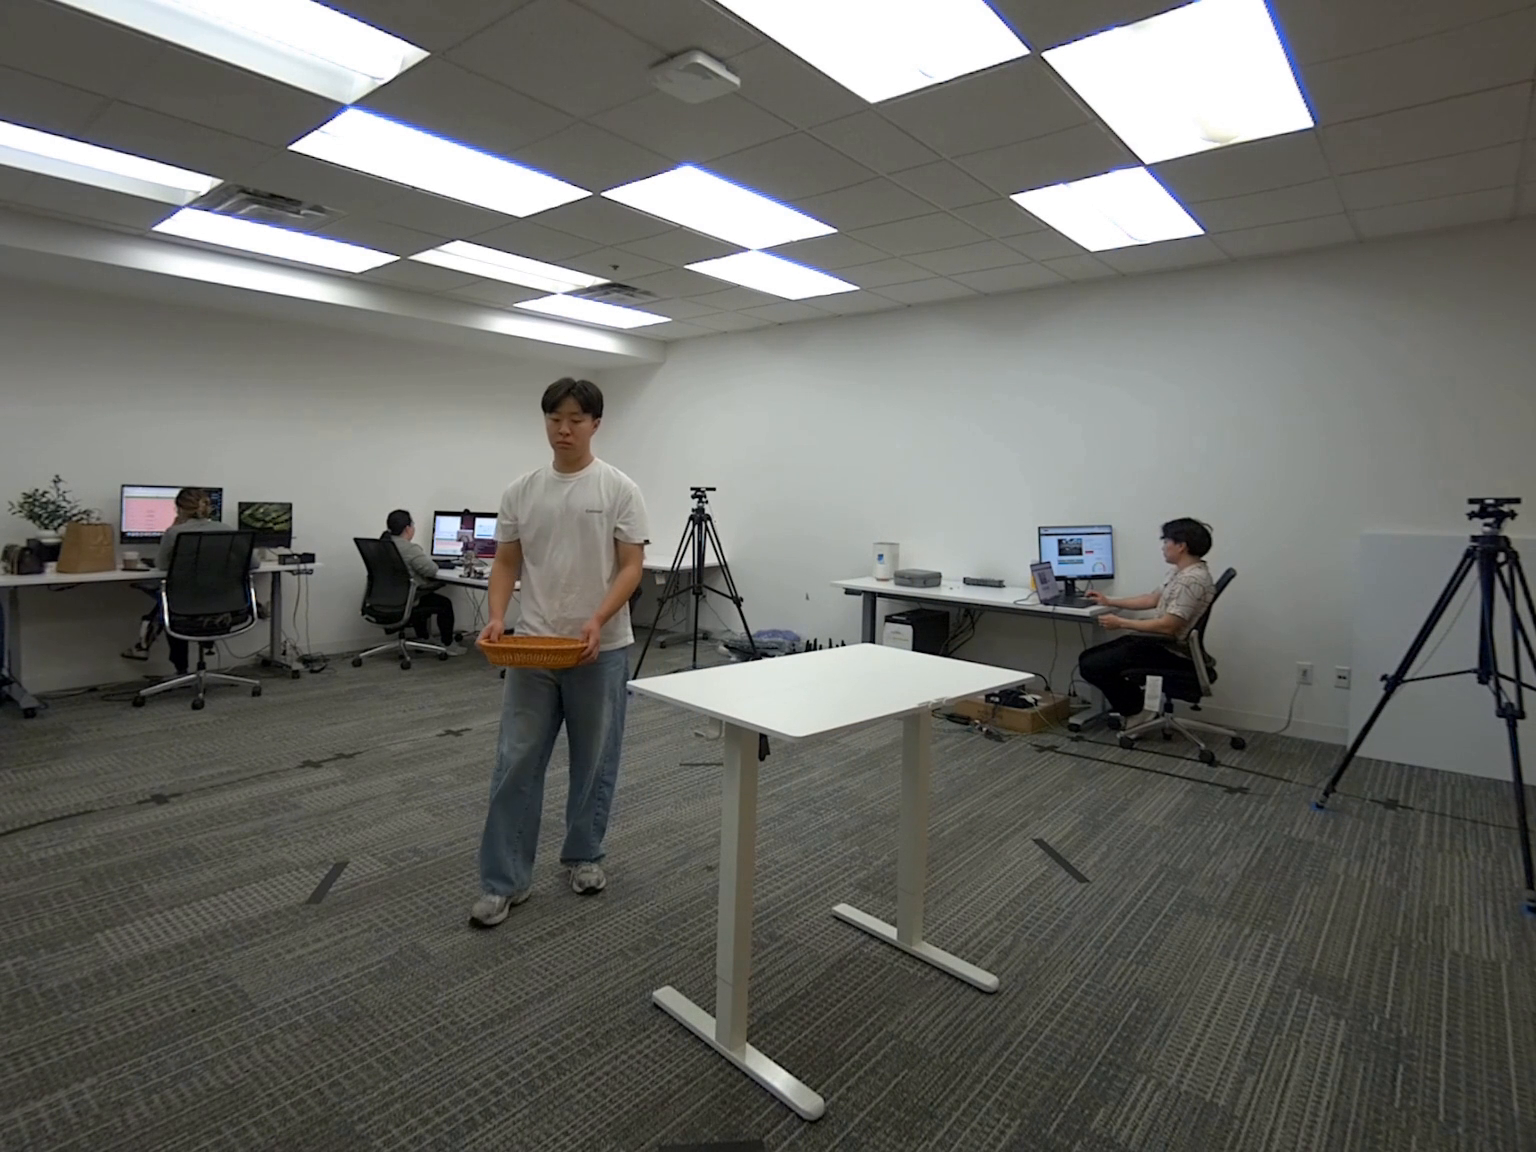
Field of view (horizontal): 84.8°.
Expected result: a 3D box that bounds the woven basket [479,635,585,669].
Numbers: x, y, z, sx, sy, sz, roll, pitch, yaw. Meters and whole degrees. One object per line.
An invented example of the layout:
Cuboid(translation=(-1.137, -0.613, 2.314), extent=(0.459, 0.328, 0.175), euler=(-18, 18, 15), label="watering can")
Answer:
Cuboid(translation=(-0.767, 0.232, 2.681), extent=(0.358, 0.073, 0.248), euler=(3, 5, 20), label="woven basket")
